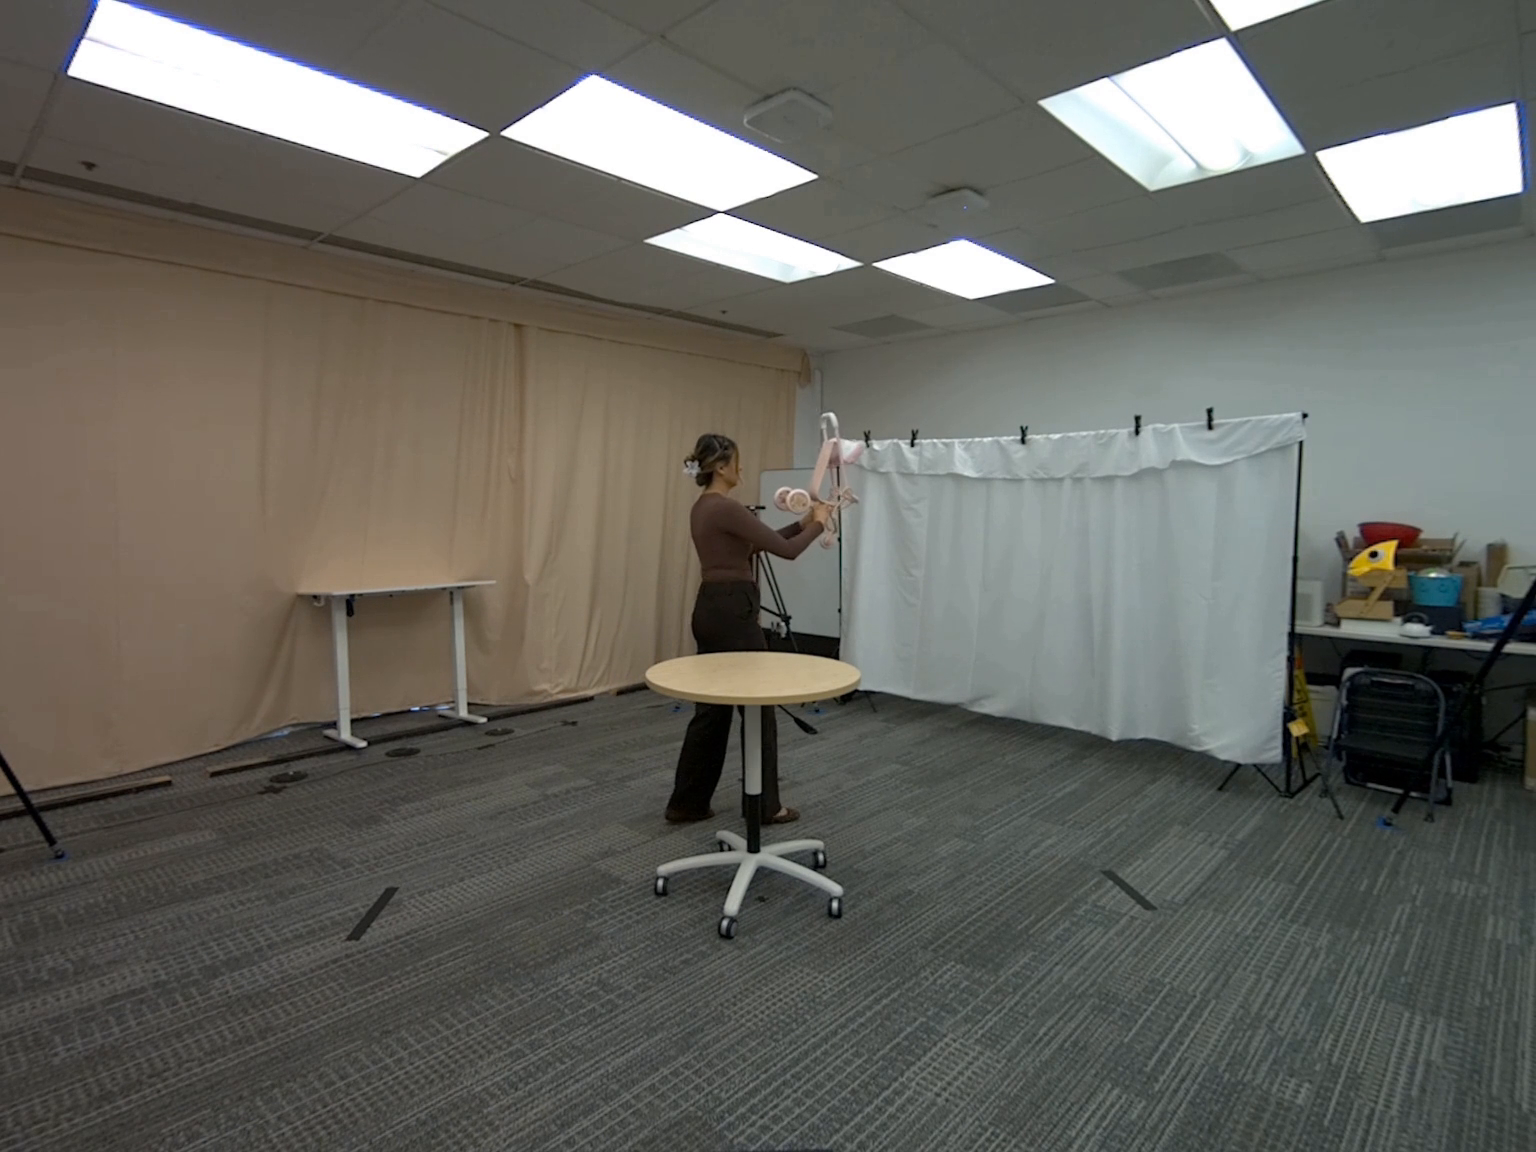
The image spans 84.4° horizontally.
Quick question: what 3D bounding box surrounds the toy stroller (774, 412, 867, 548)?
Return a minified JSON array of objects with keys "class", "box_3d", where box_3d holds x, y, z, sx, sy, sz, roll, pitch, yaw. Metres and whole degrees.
[{"class":"toy stroller","box_3d":[0.283,-0.422,3.830,0.338,0.535,0.284,30,0,-8]}]
